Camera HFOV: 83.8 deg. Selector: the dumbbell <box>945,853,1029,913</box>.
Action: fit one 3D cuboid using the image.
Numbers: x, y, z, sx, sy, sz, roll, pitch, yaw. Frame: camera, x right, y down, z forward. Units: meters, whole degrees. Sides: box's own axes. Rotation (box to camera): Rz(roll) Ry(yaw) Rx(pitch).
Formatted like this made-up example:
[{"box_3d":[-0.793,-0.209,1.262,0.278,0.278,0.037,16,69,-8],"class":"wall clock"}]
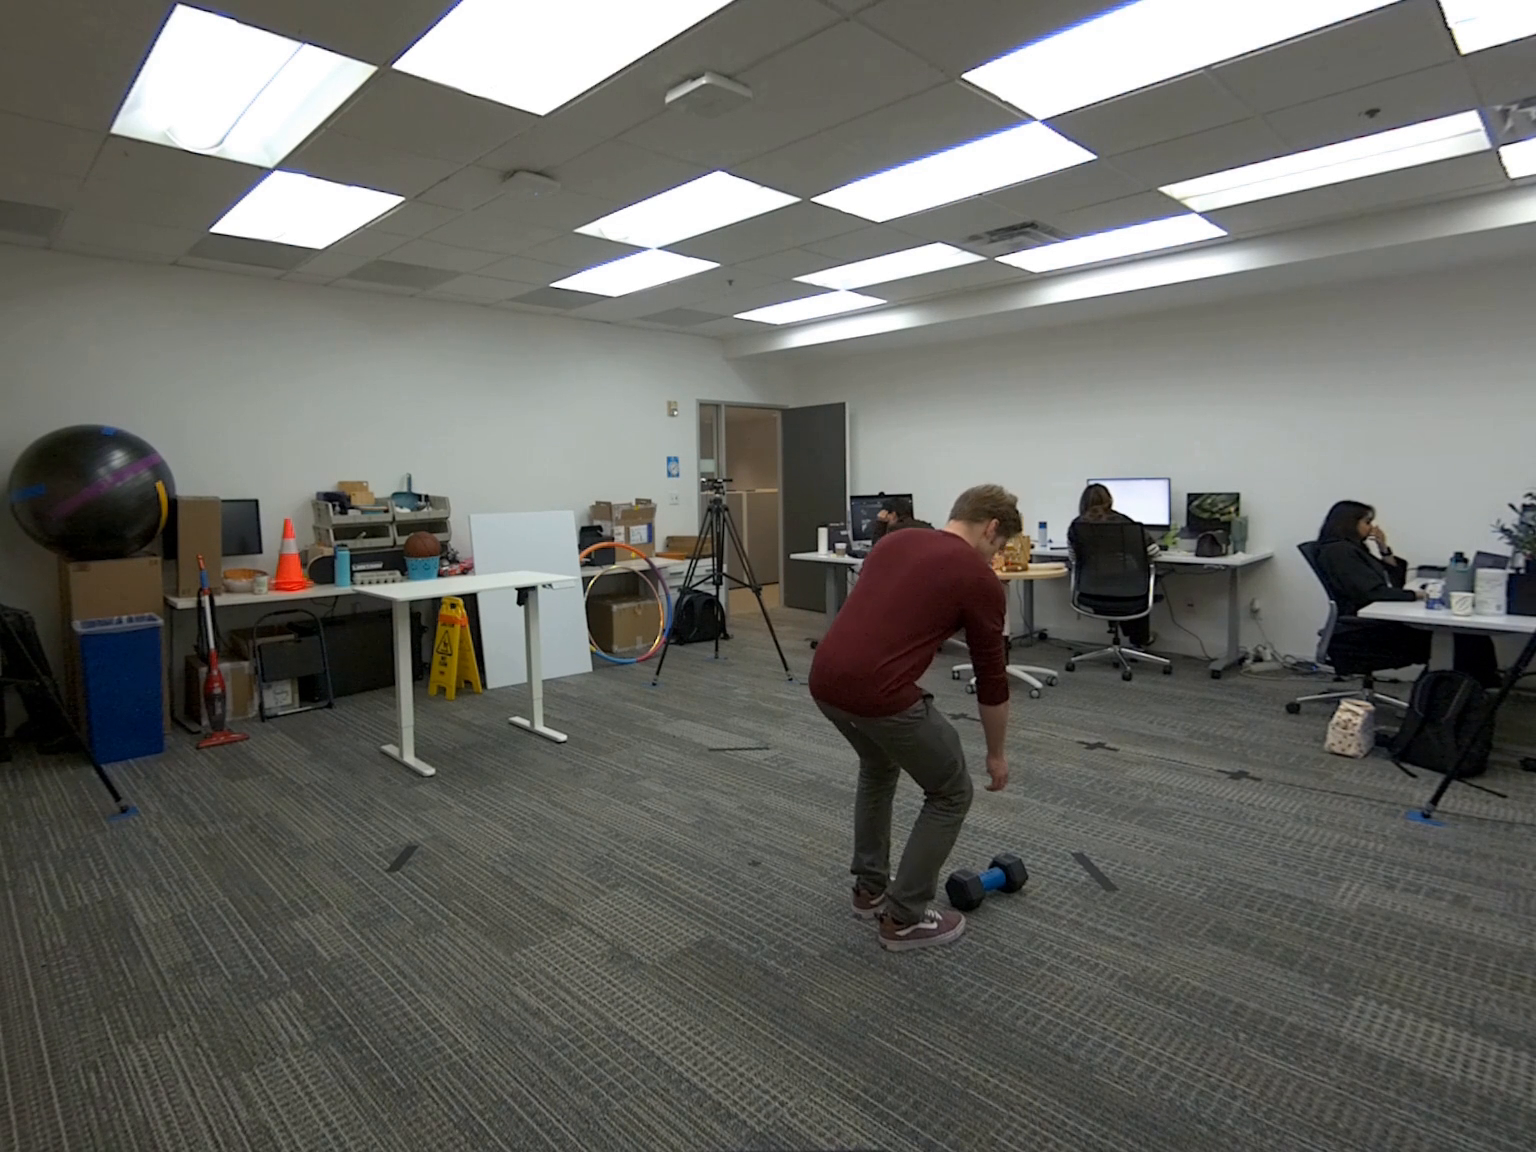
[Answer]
[{"box_3d":[0.735,1.013,2.821,0.286,0.121,0.113,-5,38,-33],"class":"dumbbell"}]
